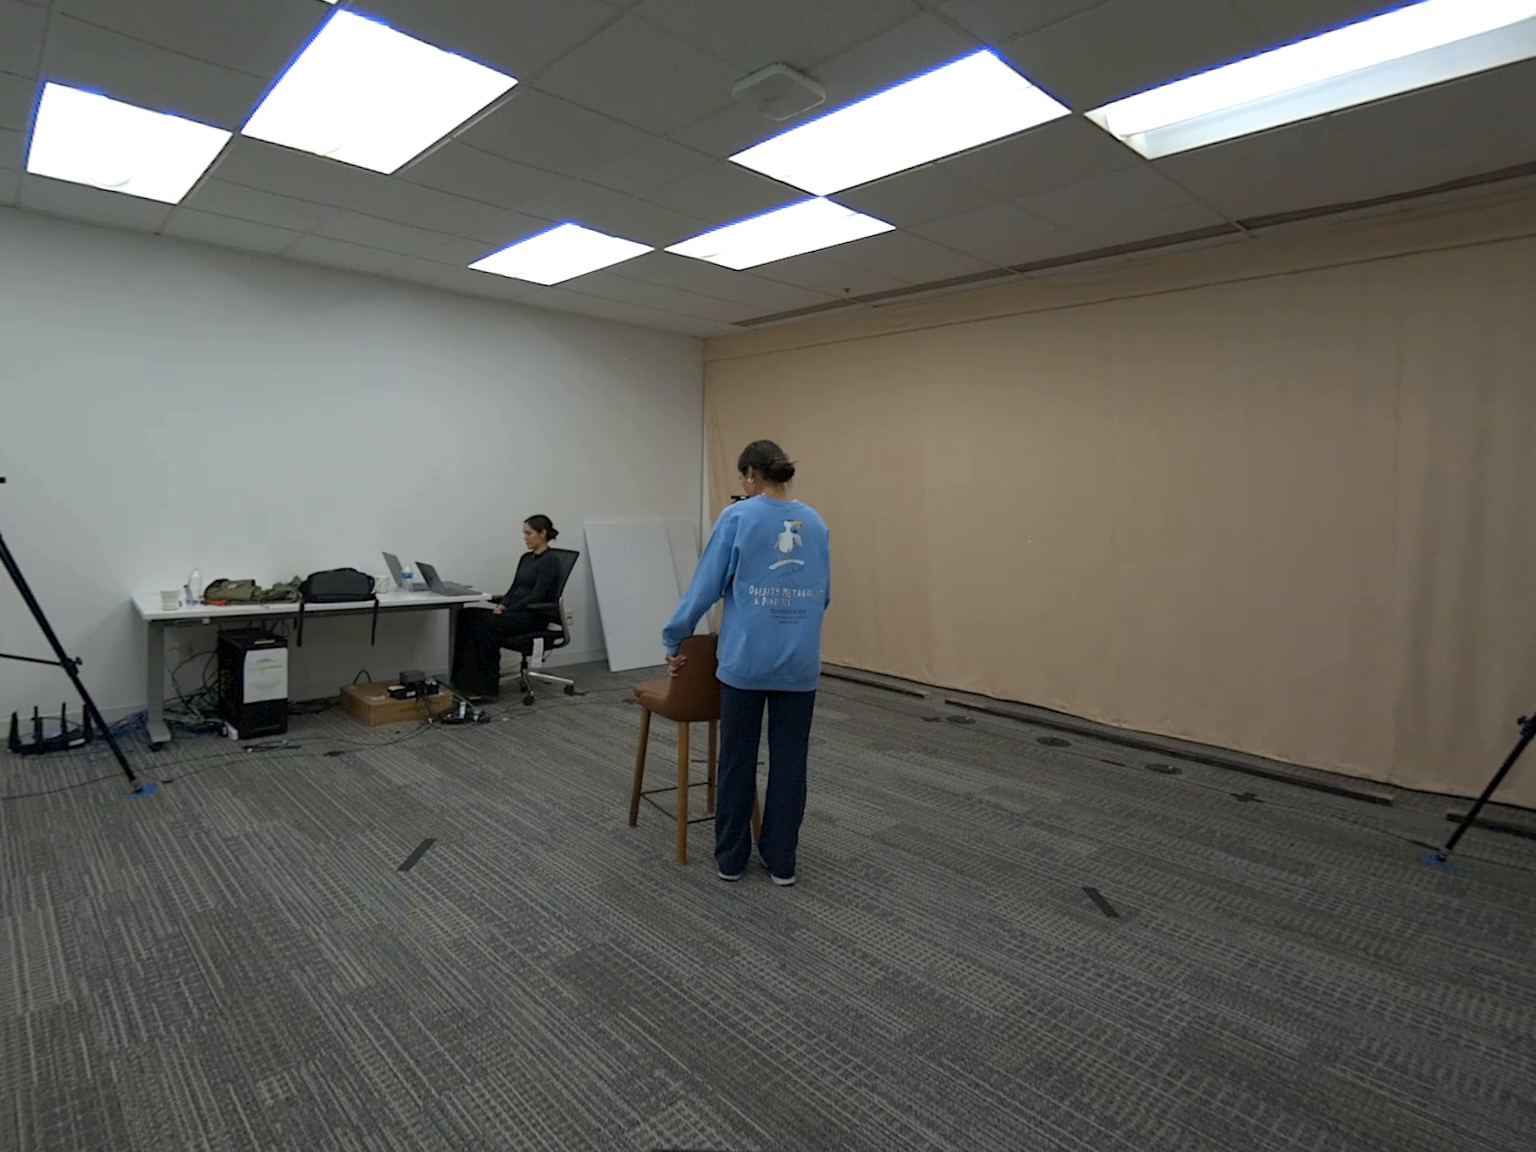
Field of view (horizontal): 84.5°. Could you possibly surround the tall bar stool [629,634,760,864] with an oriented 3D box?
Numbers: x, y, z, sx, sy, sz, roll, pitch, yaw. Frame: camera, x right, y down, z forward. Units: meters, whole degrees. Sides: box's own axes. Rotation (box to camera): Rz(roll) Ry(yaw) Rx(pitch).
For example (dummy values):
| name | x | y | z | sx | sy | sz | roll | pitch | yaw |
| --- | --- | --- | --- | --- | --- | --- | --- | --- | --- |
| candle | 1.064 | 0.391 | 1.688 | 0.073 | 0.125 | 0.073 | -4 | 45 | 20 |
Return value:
| name | x | y | z | sx | sy | sz | roll | pitch | yaw |
| --- | --- | --- | --- | --- | --- | --- | --- | --- | --- |
| tall bar stool | -0.287 | 0.633 | 3.428 | 0.447 | 0.886 | 0.479 | -1 | 7 | -31 |
